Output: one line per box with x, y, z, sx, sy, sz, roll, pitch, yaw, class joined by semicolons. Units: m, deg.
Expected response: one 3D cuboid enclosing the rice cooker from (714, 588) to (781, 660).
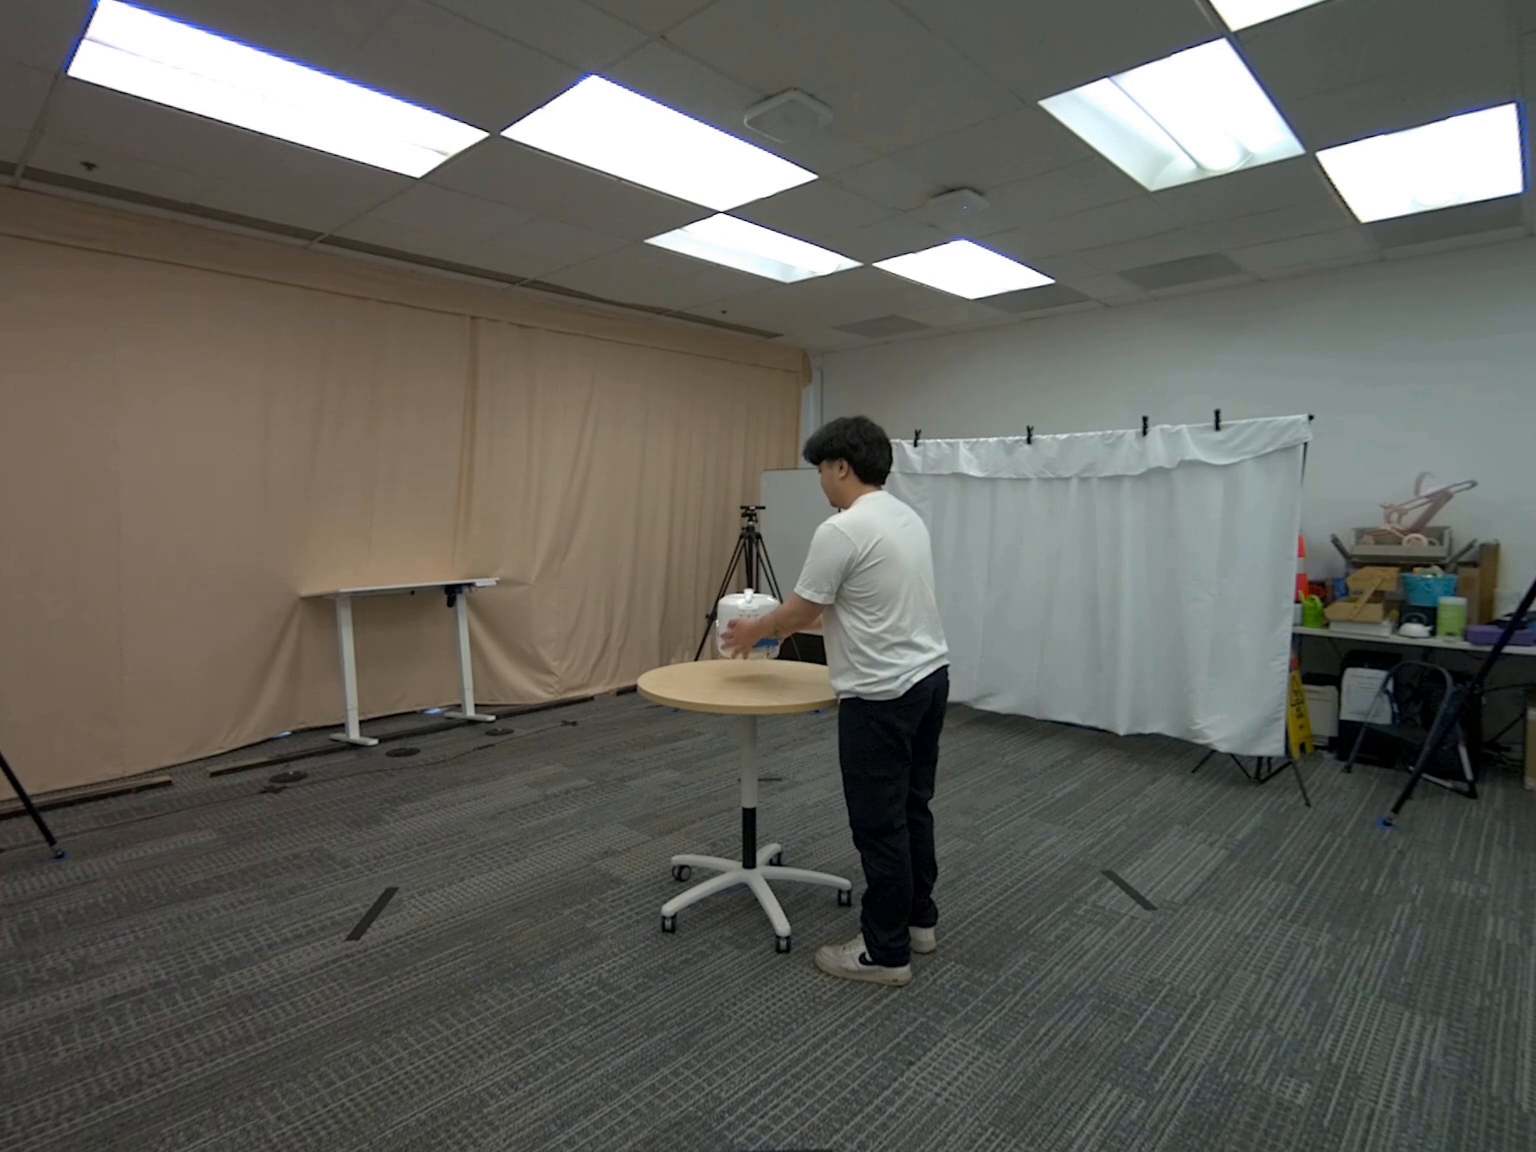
-0.066;0.162;2.879;0.218;0.232;0.221;1;4;1;rice cooker
